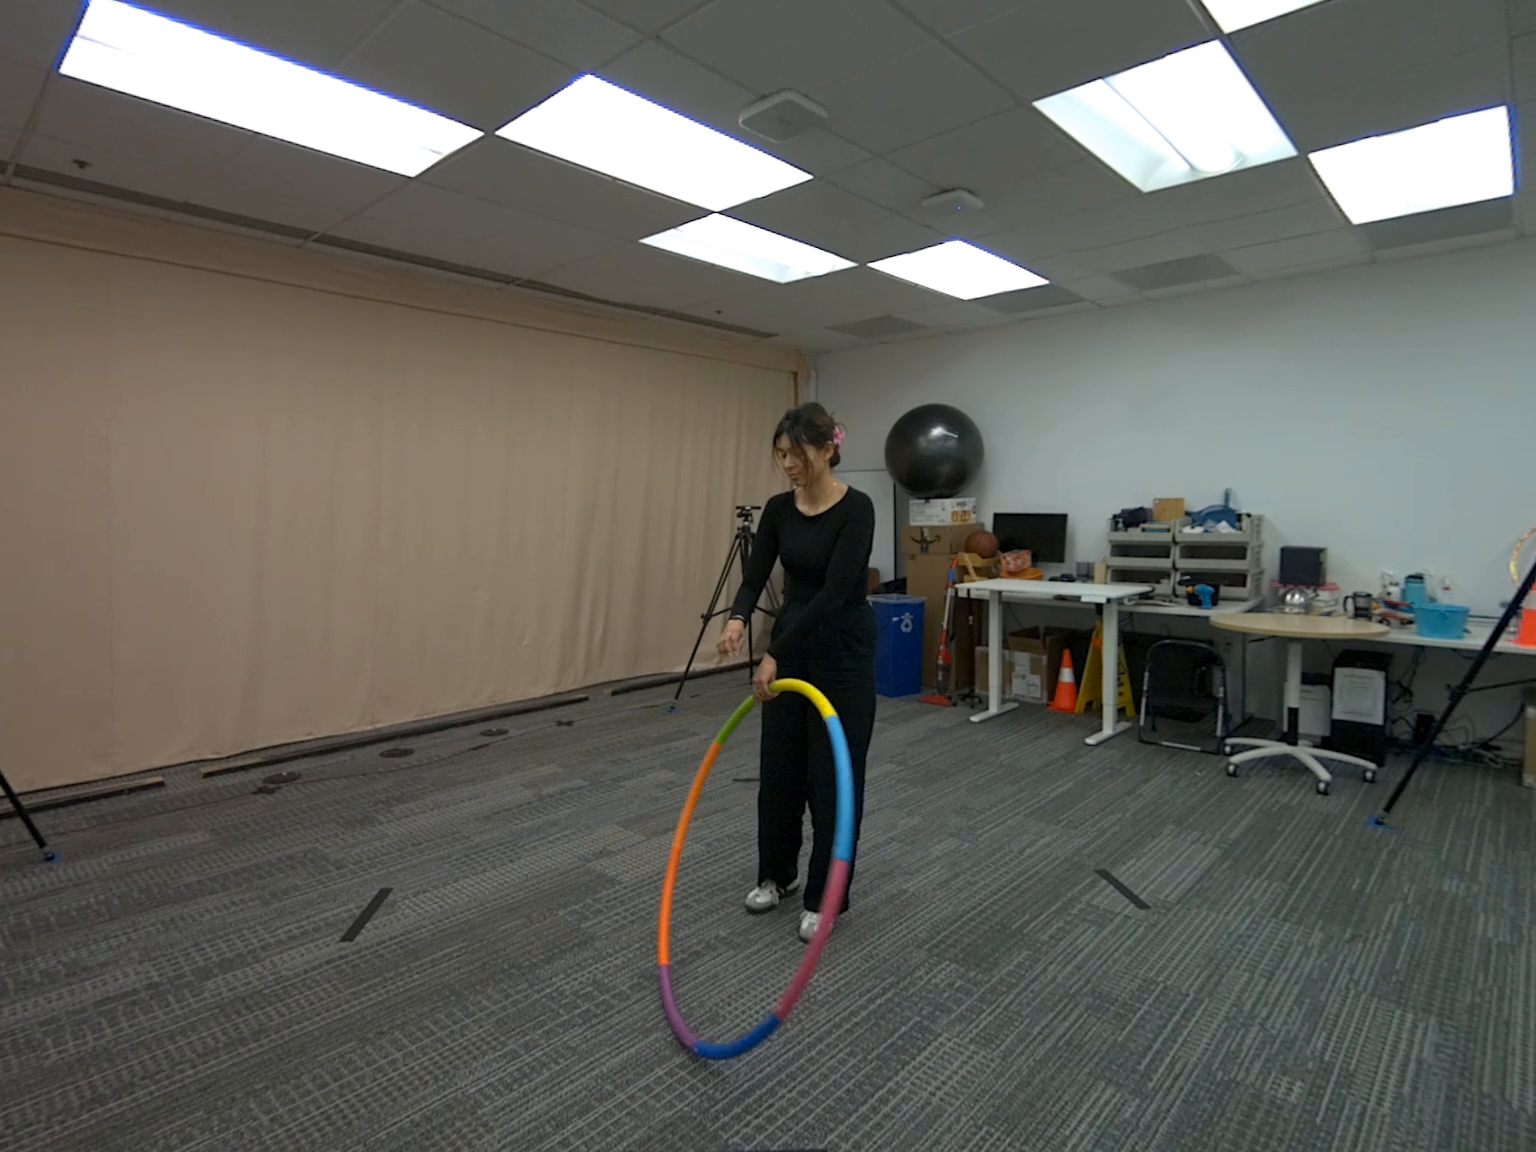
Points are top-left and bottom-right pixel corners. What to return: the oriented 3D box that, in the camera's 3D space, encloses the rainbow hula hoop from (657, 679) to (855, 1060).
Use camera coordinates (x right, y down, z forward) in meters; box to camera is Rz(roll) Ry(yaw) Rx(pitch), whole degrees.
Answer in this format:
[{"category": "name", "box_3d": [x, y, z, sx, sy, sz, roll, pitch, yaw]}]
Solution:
[{"category": "rainbow hula hoop", "box_3d": [-0.080, 0.752, 2.291, 0.035, 0.979, 1.001, 25, -5, -22]}]
